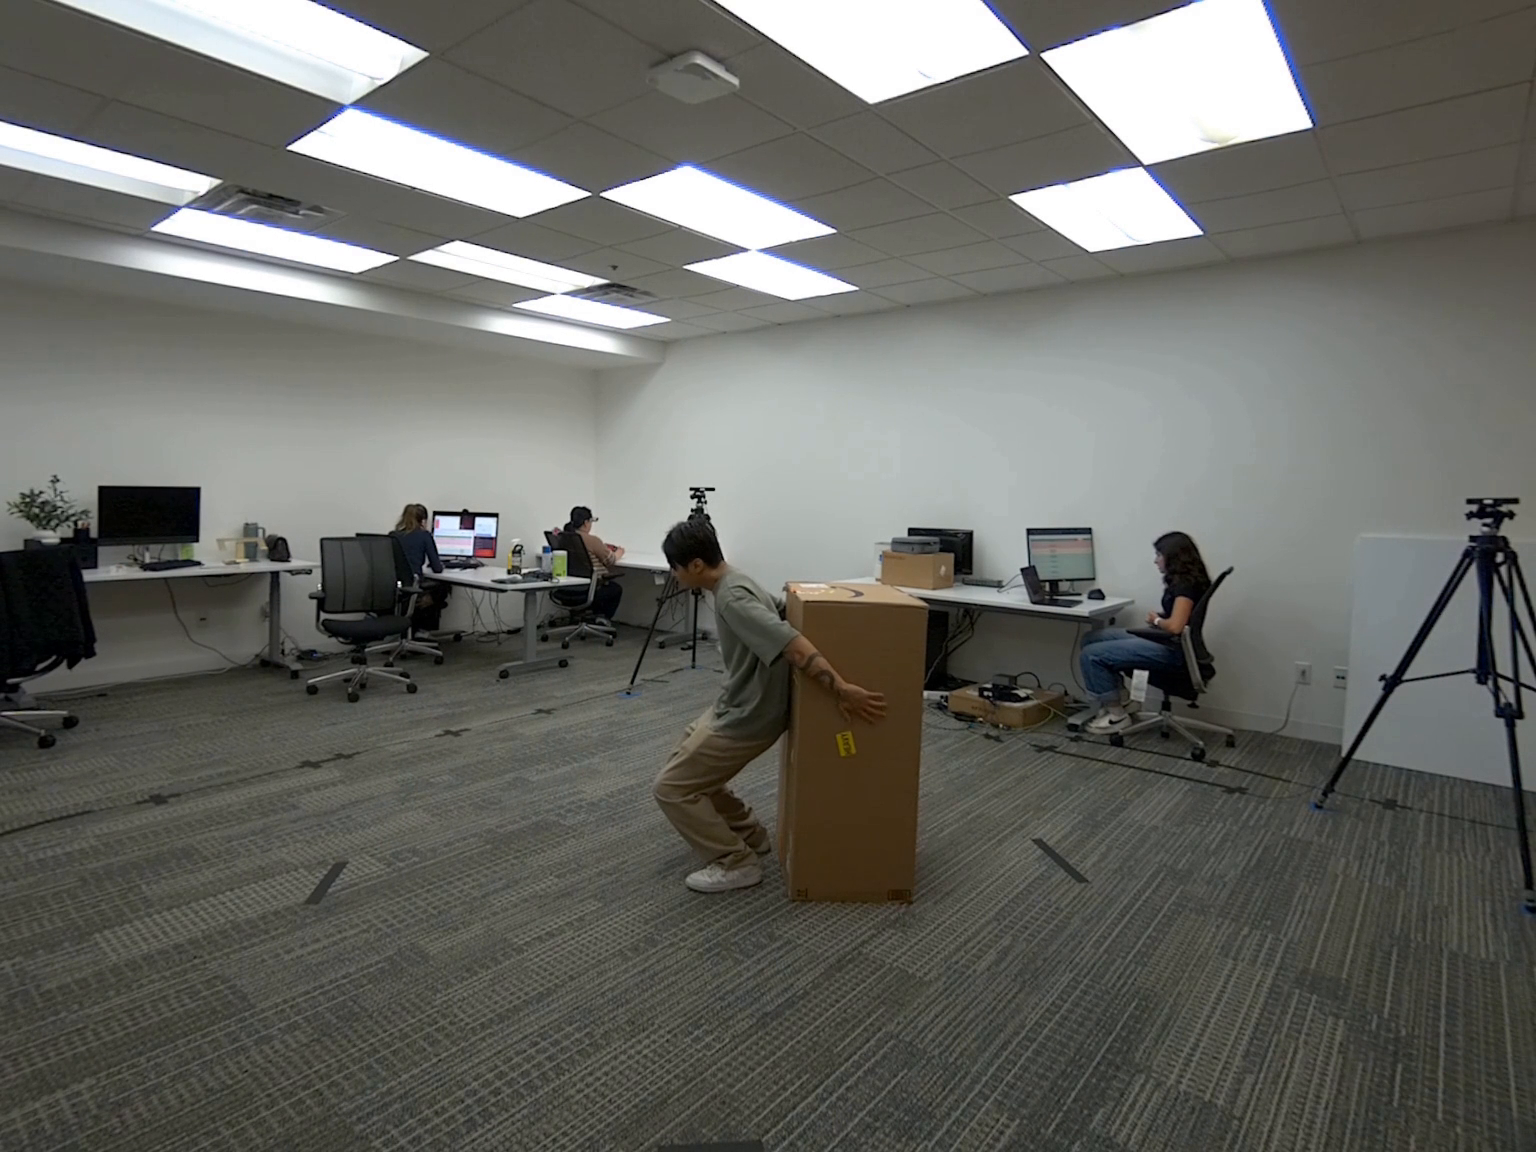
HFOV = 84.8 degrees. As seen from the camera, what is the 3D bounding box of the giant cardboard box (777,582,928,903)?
[{"bbox_3d":[0.282,0.565,3.130,0.425,1.022,0.581,3,4,-4],"label":"giant cardboard box"}]
